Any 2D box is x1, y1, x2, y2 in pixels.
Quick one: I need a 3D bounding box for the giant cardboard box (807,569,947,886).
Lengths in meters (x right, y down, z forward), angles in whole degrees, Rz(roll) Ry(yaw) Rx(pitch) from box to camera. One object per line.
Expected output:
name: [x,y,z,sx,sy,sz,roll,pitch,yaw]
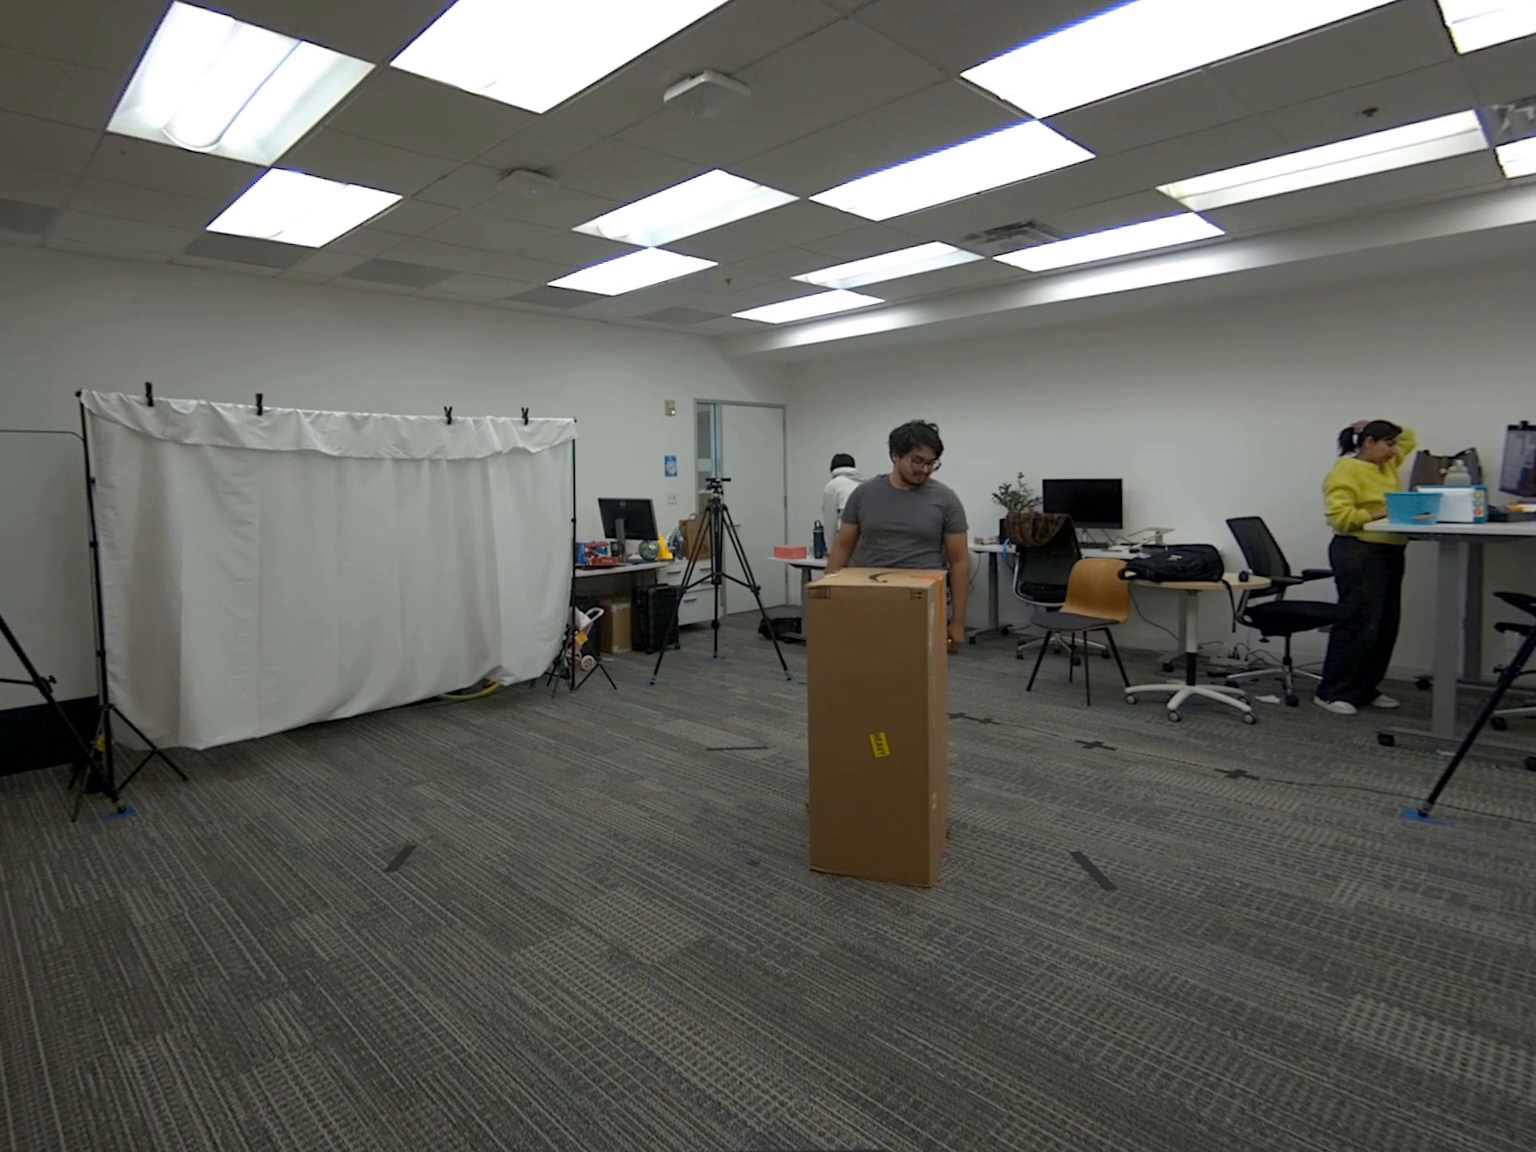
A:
giant cardboard box: [0.427,0.518,3.192,0.455,1.024,0.575,0,4,19]
